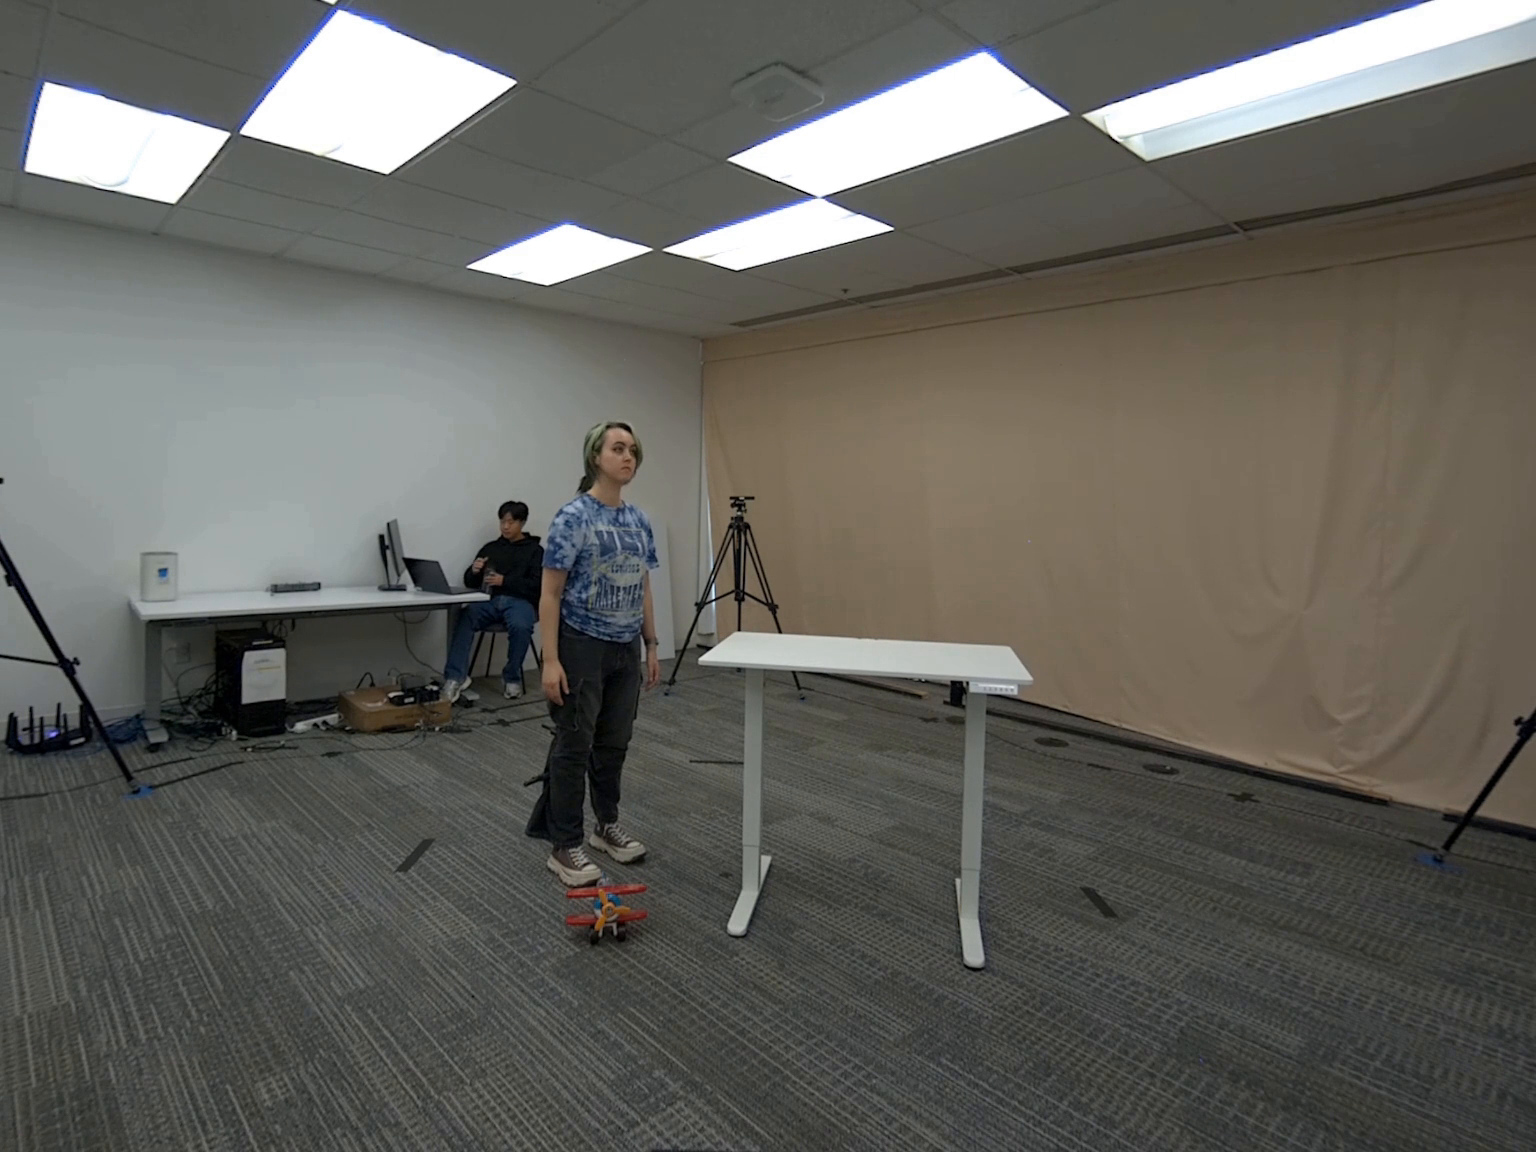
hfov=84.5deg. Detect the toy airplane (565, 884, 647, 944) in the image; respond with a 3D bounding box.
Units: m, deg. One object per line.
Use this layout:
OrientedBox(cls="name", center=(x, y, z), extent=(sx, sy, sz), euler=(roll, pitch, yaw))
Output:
OrientedBox(cls="toy airplane", center=(-0.546, 1.062, 2.695), extent=(0.245, 0.156, 0.266), euler=(-2, 5, -42))
